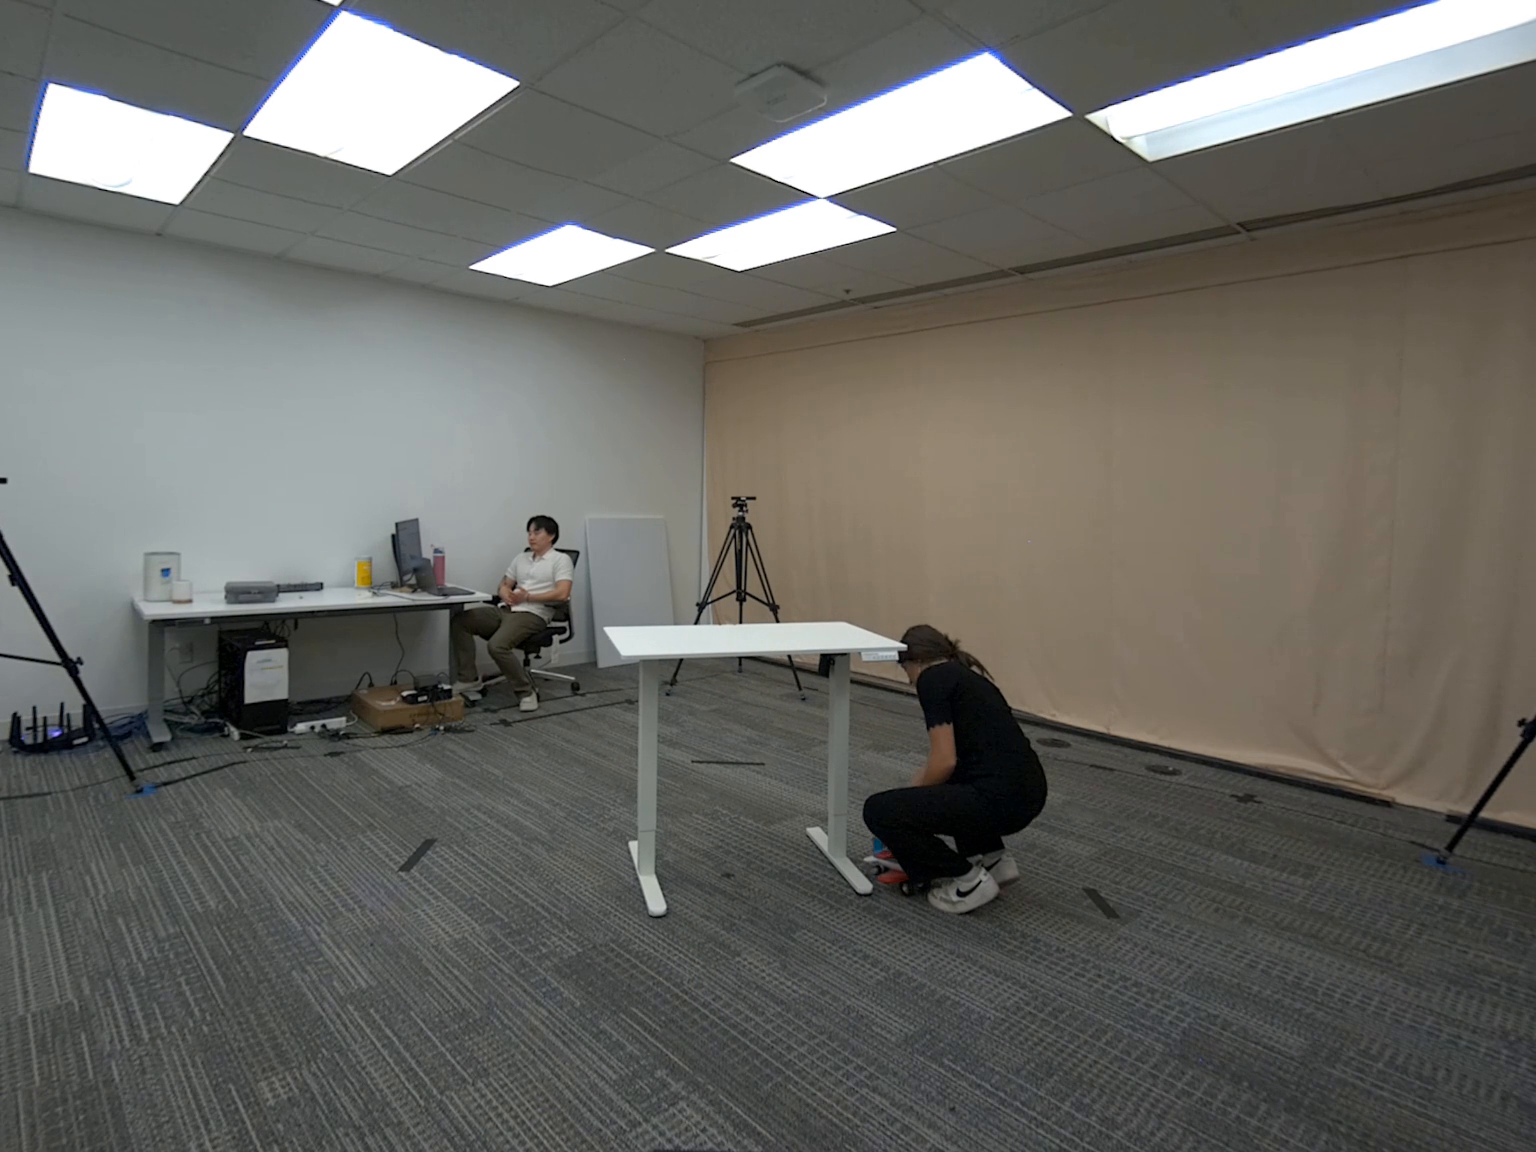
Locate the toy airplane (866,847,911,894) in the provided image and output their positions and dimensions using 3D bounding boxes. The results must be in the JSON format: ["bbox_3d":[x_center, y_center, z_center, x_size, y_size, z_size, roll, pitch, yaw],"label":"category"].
[{"bbox_3d":[0.439,1.042,3.060,0.264,0.156,0.247,6,8,26],"label":"toy airplane"}]
